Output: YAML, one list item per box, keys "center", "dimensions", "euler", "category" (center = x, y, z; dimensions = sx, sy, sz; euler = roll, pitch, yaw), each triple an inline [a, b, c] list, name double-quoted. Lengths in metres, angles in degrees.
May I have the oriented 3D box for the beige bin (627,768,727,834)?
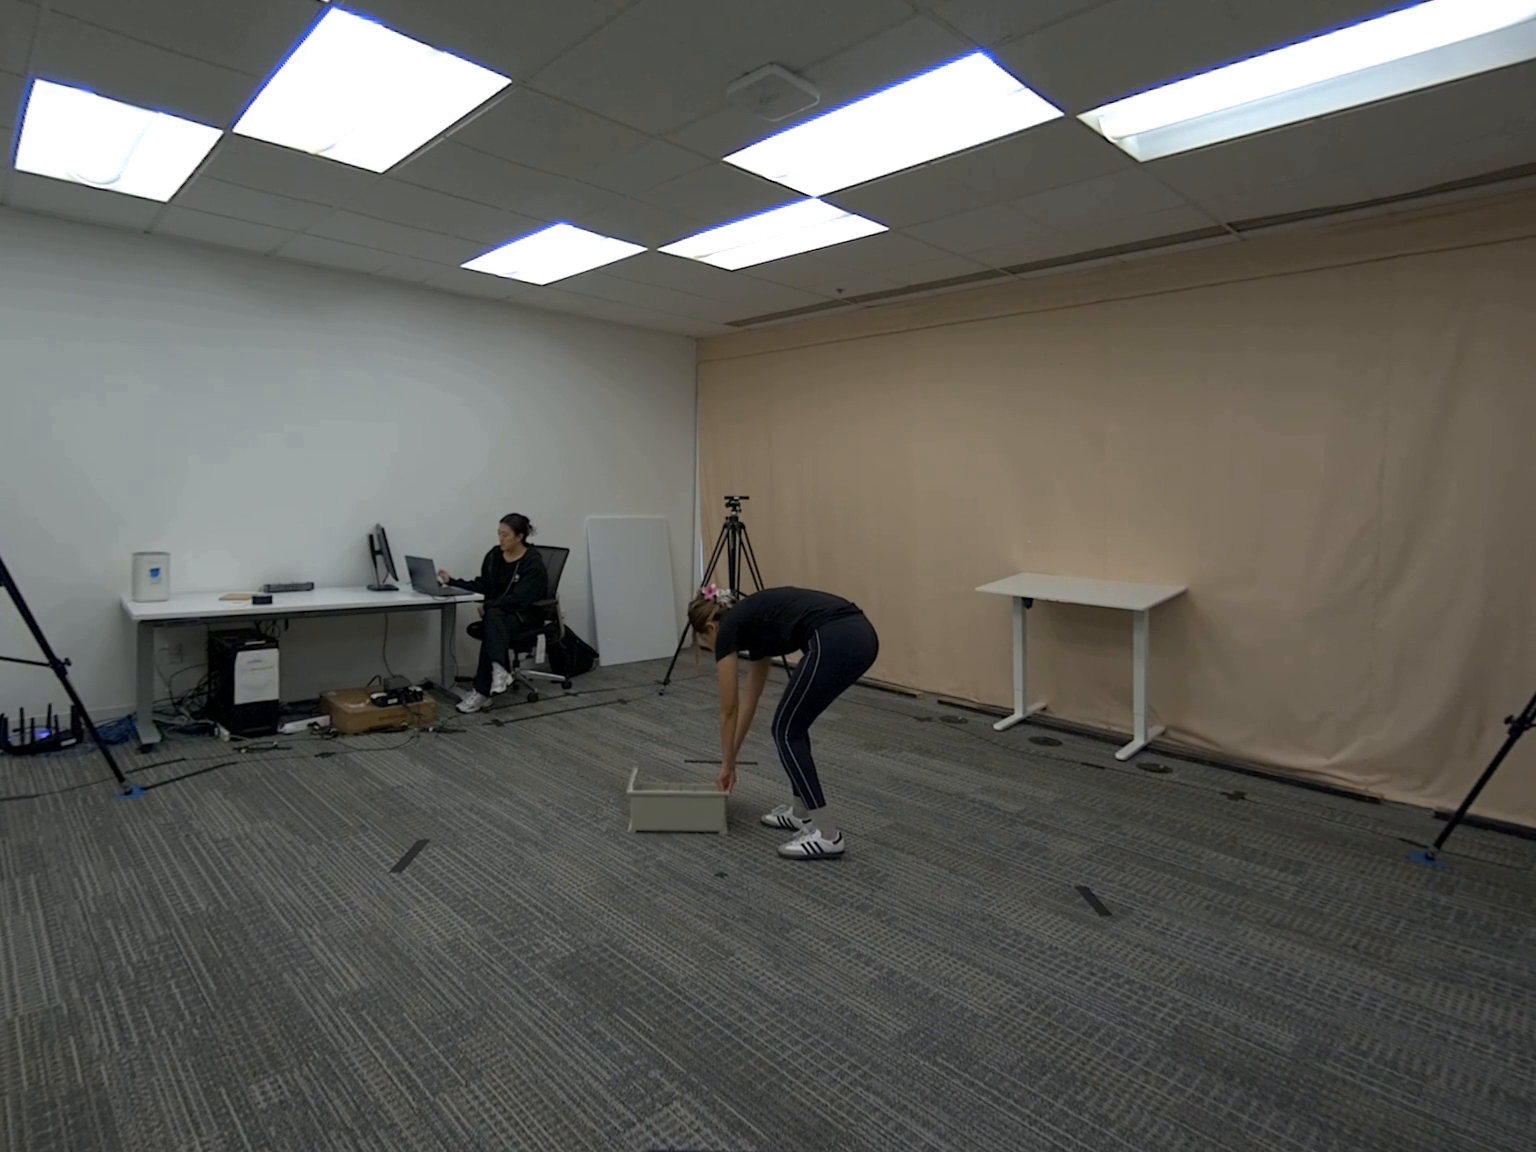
- center: [-0.390, 0.958, 3.653]
  dimensions: [0.421, 0.188, 0.379]
  euler: [2, 6, -3]
  category: "beige bin"
